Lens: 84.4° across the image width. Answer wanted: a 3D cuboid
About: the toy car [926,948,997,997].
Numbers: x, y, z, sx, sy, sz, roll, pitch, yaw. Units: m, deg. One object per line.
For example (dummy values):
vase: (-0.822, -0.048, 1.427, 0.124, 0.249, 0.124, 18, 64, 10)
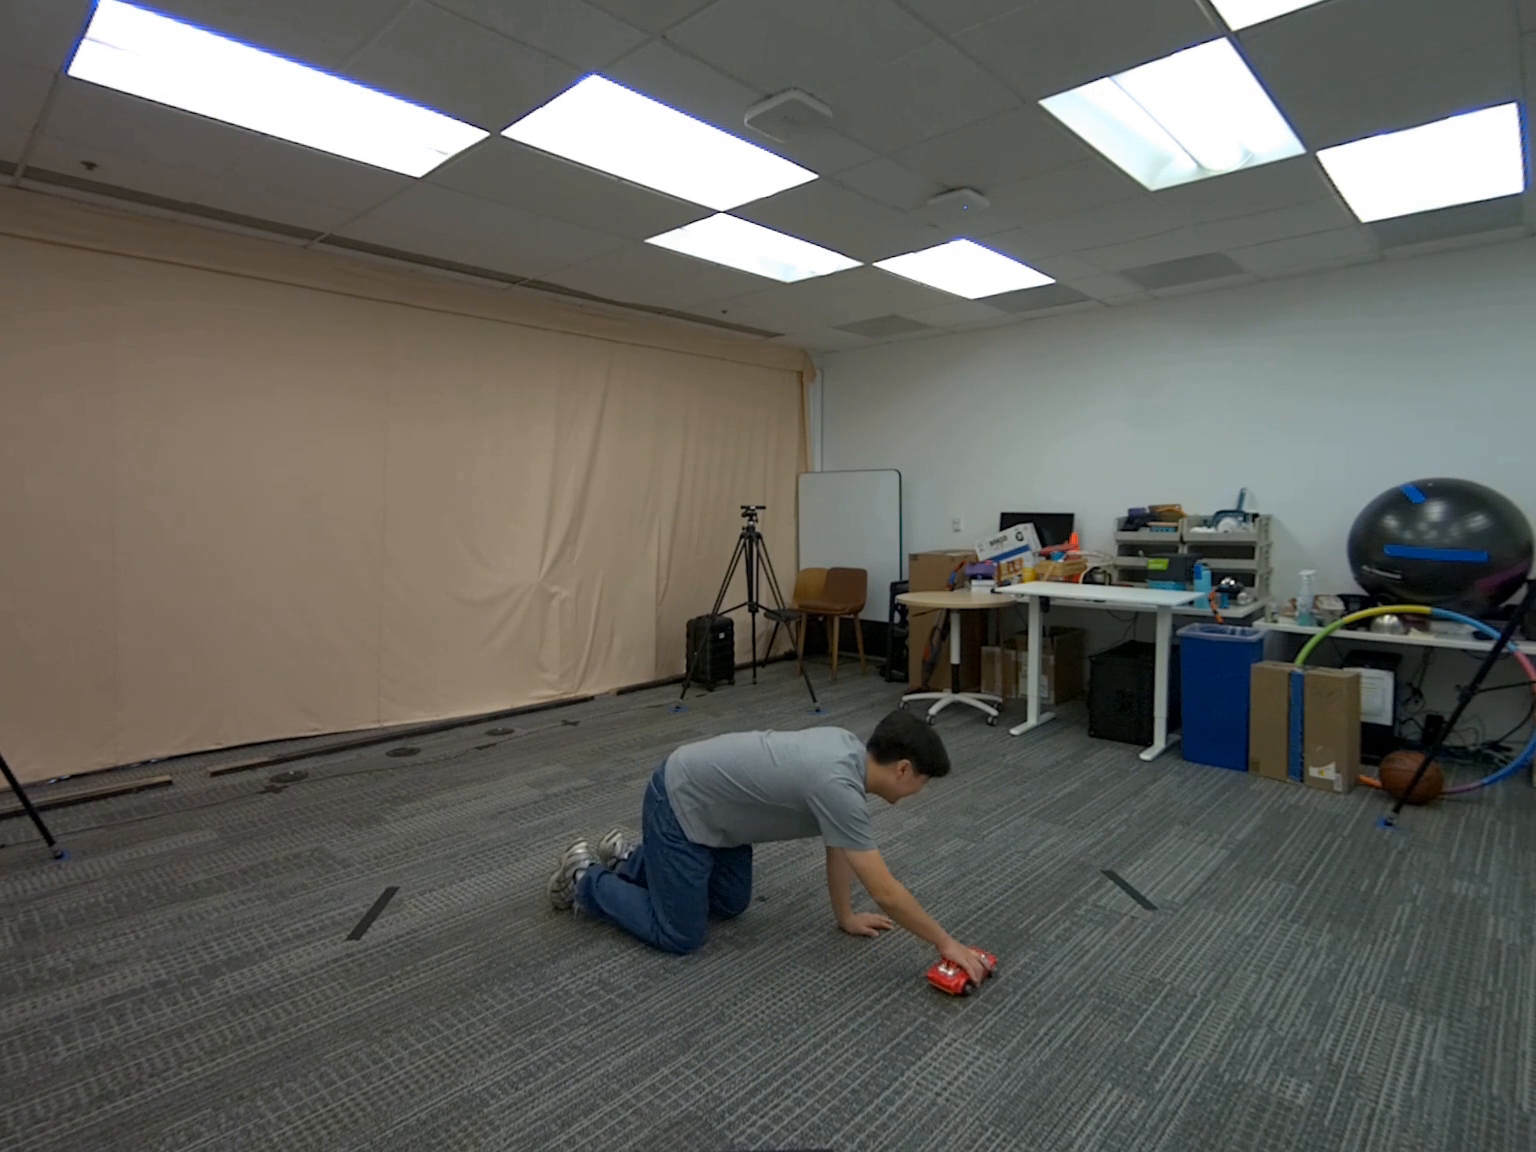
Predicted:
toy car: (0.568, 1.157, 2.449, 0.246, 0.083, 0.135, 9, -2, -41)
